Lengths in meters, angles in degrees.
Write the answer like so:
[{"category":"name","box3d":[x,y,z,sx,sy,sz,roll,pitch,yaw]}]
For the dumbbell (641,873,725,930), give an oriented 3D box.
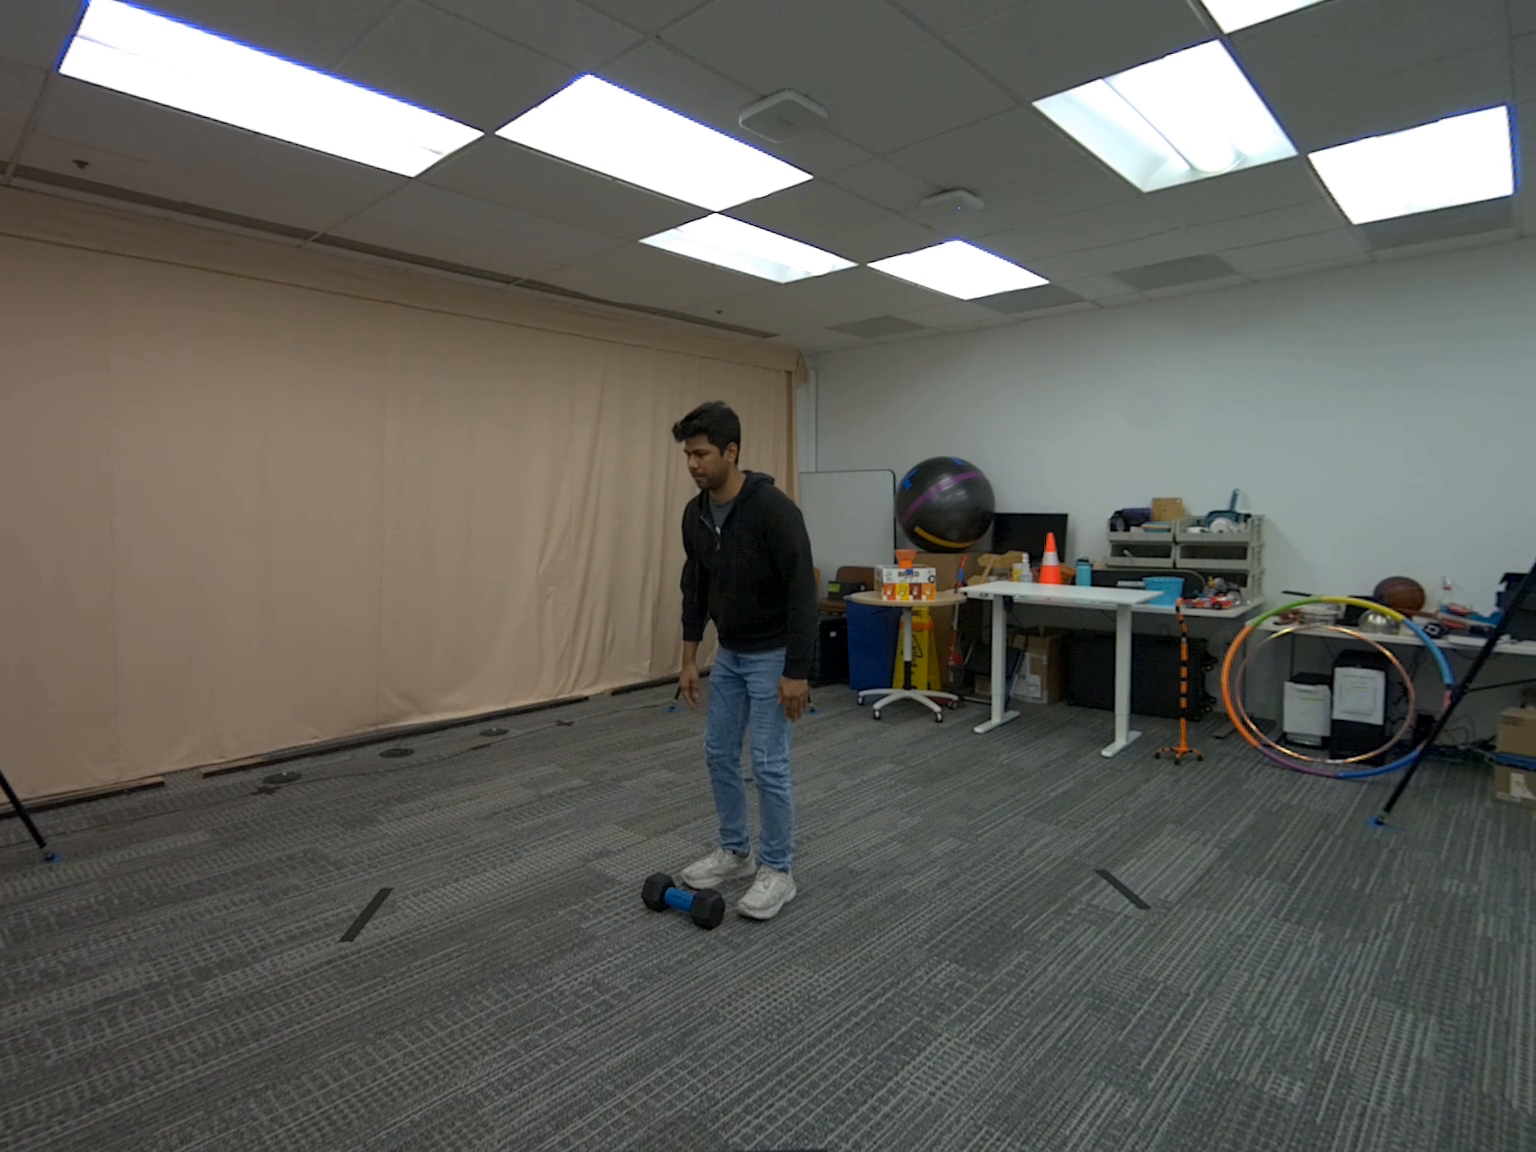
[{"category":"dumbbell","box3d":[-0.281,1.098,2.859,0.303,0.120,0.108,3,34,35]}]
